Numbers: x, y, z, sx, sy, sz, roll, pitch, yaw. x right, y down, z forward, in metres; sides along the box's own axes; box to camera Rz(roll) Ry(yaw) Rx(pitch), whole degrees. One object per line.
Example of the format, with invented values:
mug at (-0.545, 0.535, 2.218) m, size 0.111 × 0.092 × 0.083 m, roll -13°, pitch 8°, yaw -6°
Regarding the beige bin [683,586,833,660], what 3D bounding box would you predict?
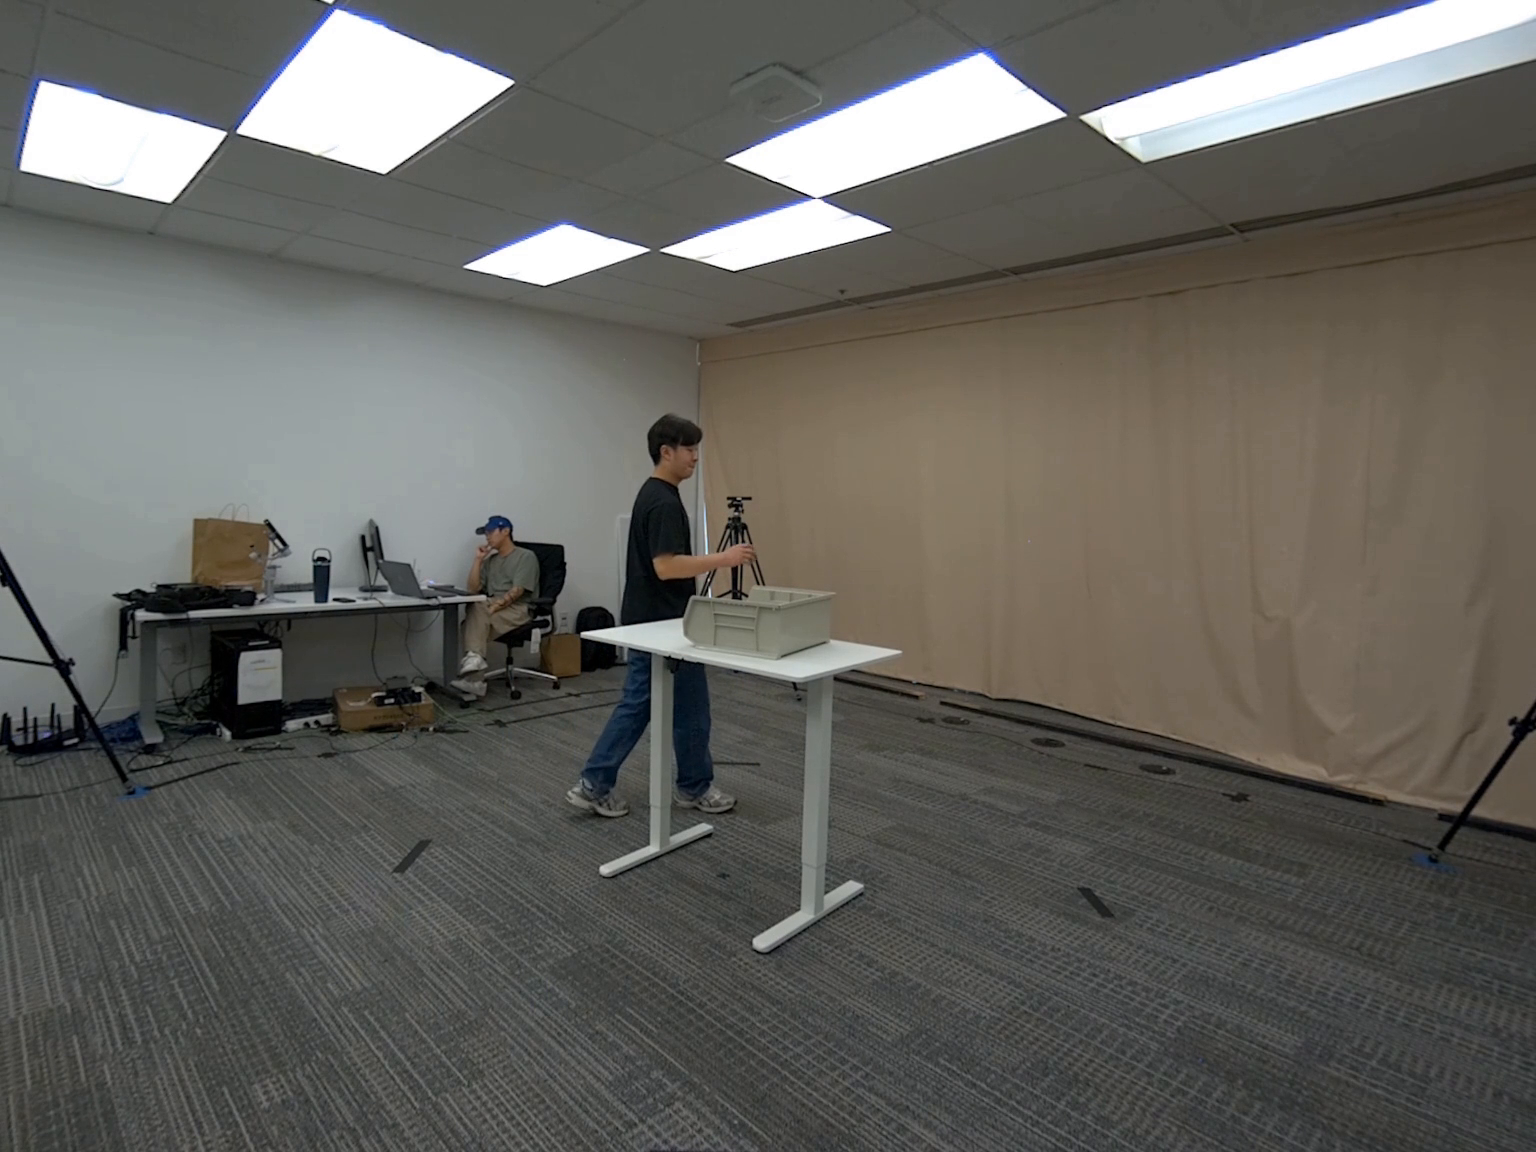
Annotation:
beige bin at (-0.028, 0.158, 2.932) m, size 0.386 × 0.188 × 0.414 m, roll 6°, pitch 6°, yaw 30°
